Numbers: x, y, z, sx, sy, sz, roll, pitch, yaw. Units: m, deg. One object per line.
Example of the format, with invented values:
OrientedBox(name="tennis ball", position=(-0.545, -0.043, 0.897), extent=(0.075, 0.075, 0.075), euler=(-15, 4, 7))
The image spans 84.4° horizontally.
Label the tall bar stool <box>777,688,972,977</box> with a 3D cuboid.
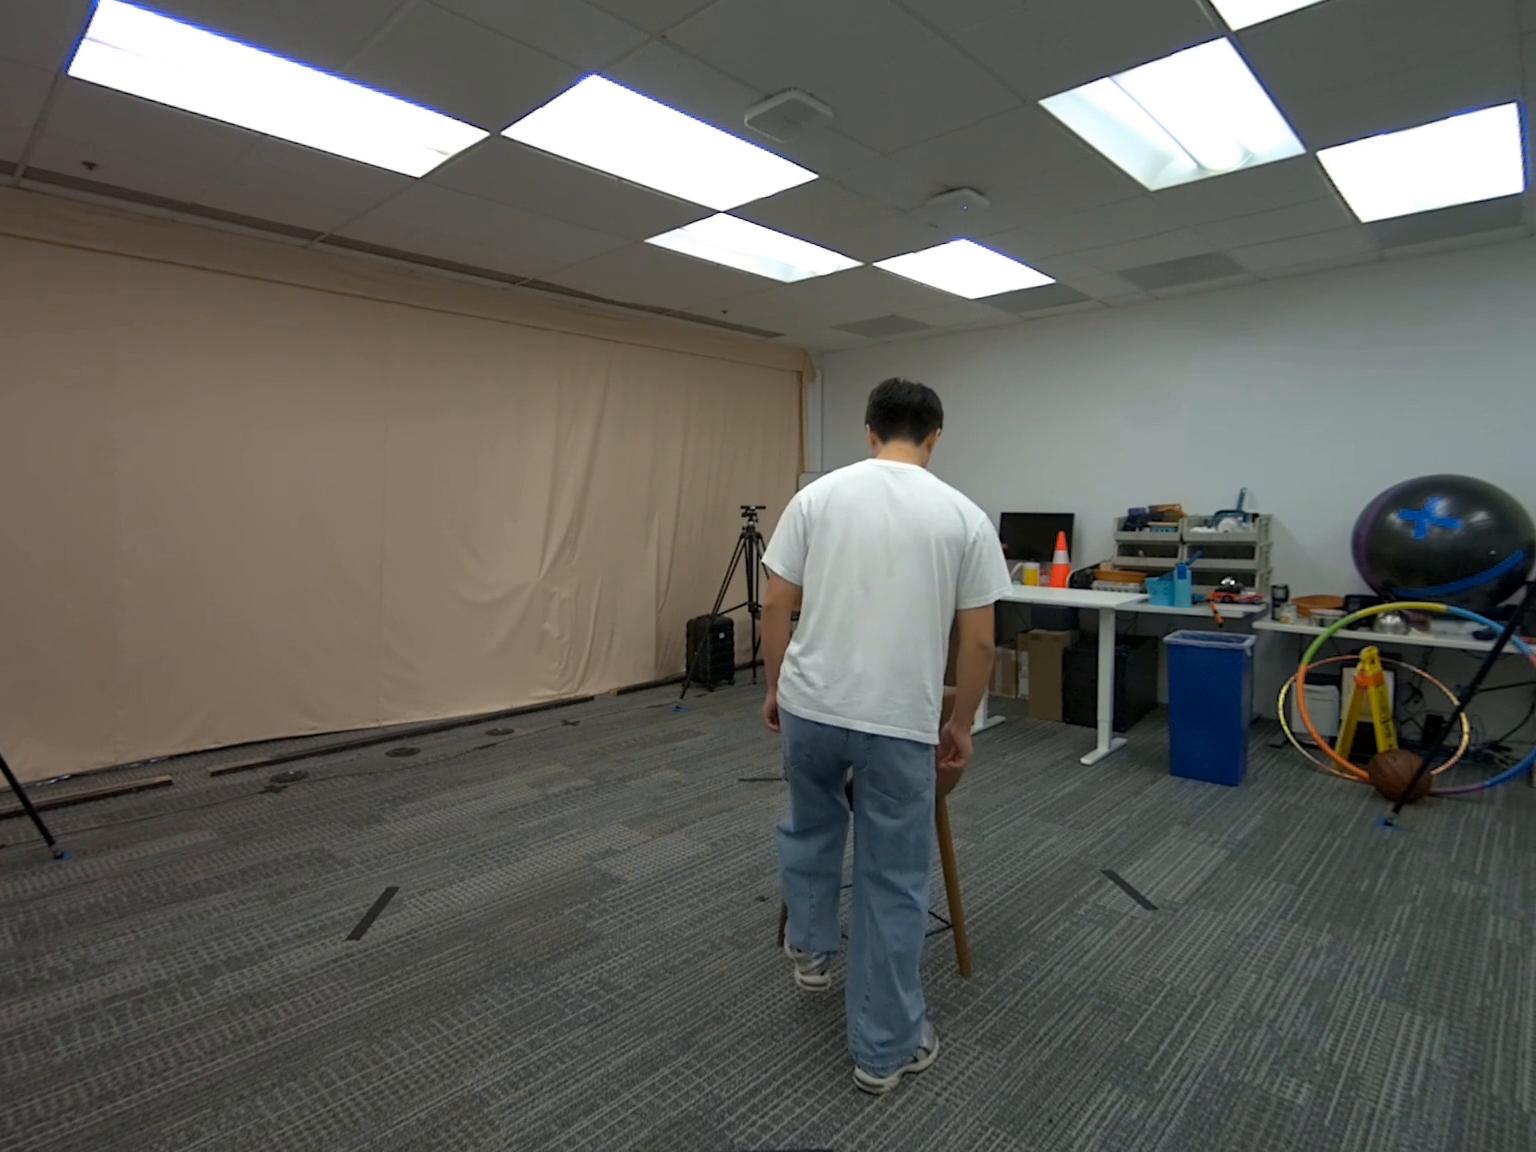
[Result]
OrientedBox(name="tall bar stool", position=(0.335, 0.741, 2.557), extent=(0.443, 0.887, 0.483), euler=(-2, 6, -34))
